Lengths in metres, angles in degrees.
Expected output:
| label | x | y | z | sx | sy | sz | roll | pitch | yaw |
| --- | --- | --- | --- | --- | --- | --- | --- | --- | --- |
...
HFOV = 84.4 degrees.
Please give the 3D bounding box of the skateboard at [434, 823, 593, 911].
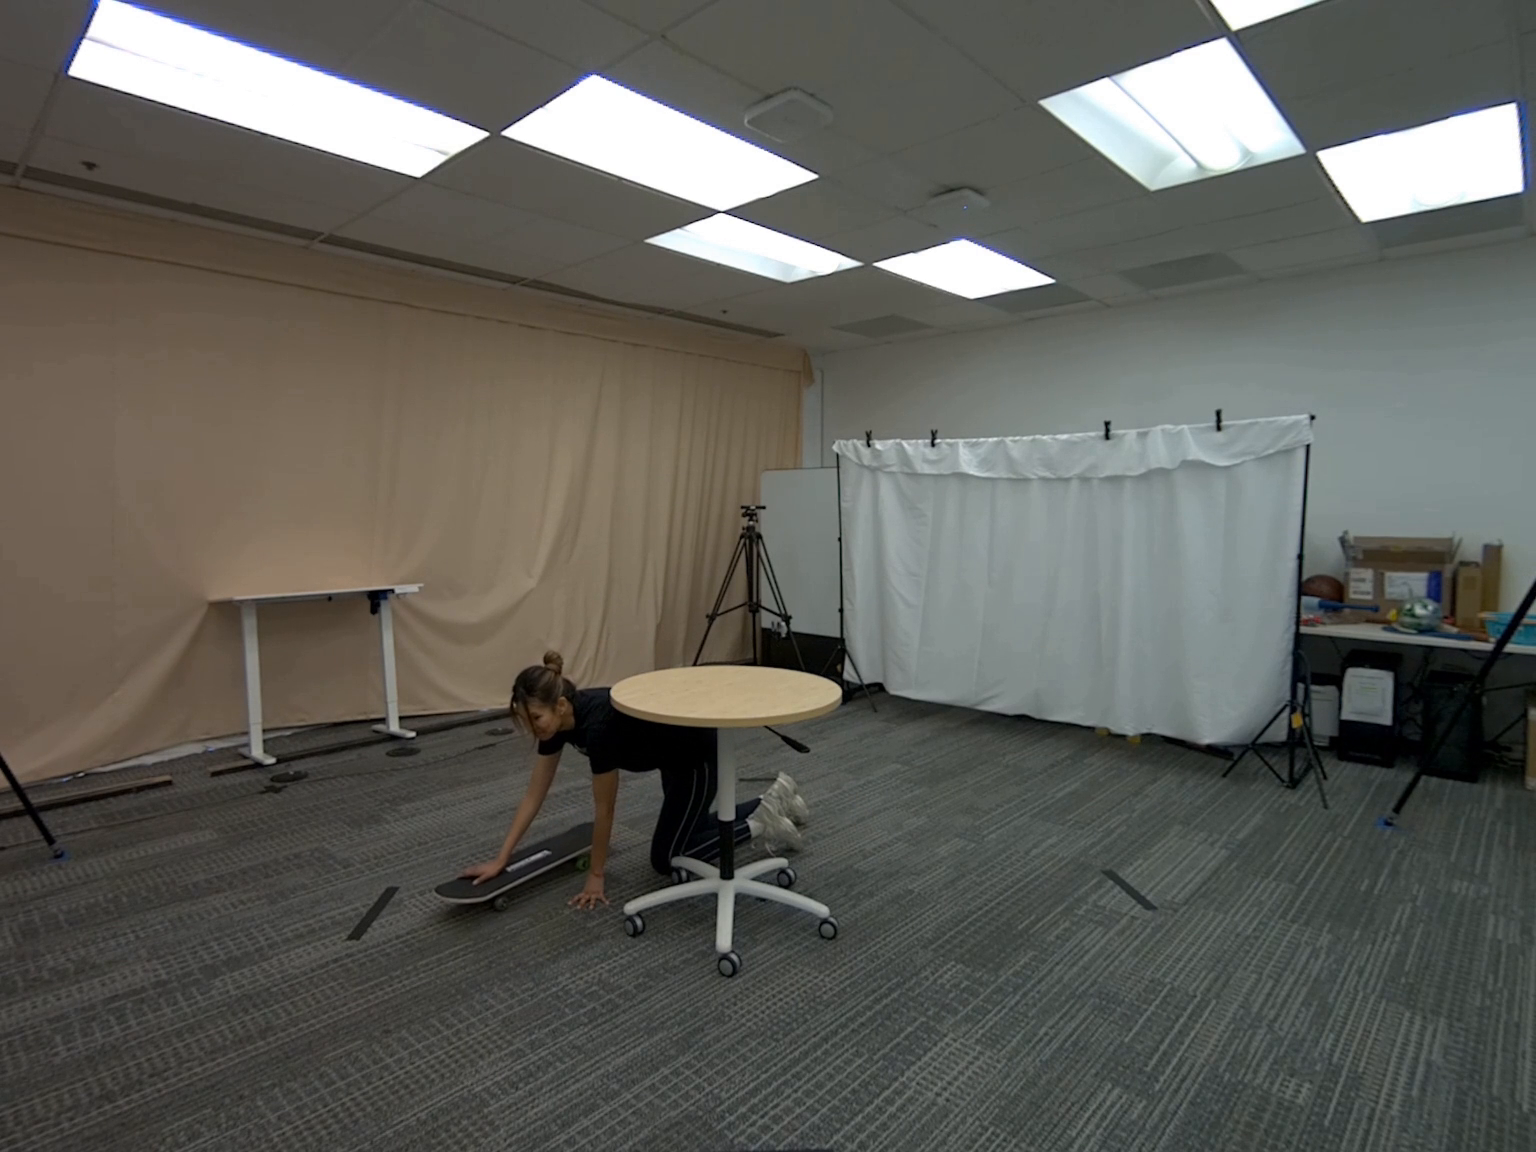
| label | x | y | z | sx | sy | sz | roll | pitch | yaw |
| --- | --- | --- | --- | --- | --- | --- | --- | --- | --- |
| skateboard | -0.886 | 1.090 | 3.117 | 0.199 | 0.110 | 0.764 | 2 | 5 | 32 |
